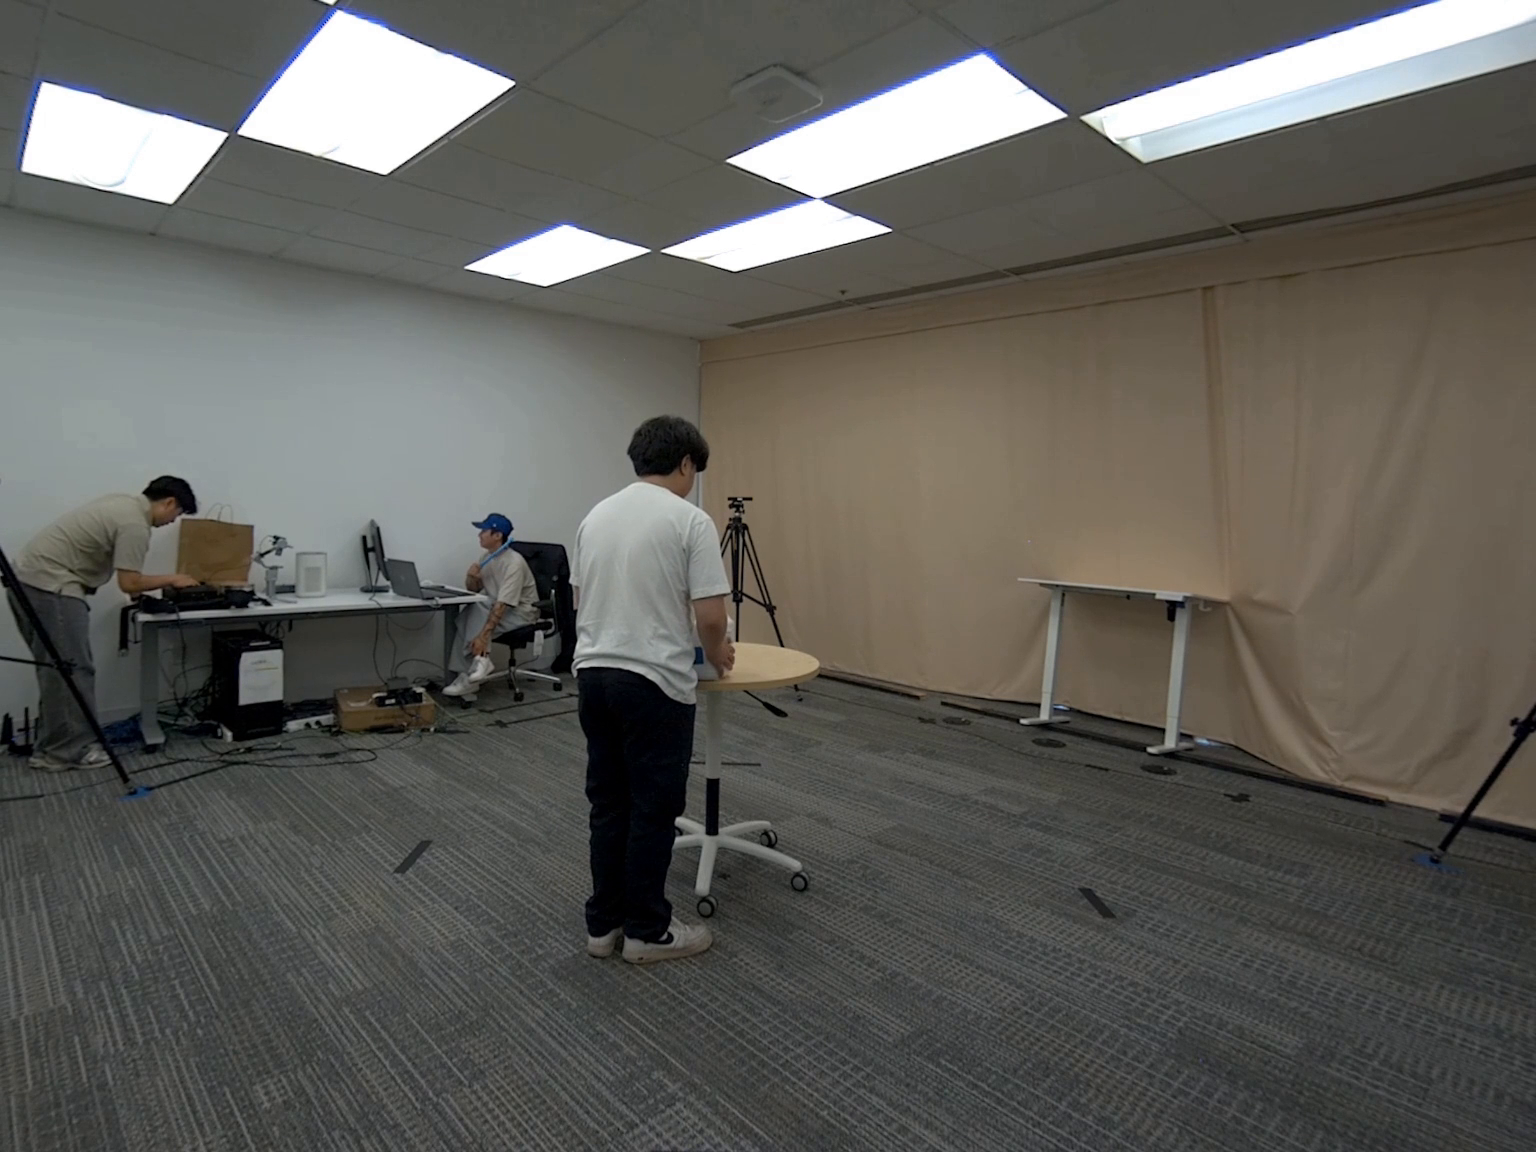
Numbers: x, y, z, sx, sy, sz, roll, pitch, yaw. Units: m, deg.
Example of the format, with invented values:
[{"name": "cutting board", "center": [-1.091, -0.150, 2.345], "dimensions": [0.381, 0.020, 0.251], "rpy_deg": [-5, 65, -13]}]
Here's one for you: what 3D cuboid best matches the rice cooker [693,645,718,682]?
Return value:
[{"name": "rice cooker", "center": [-0.216, 0.224, 2.814], "dimensions": [0.219, 0.232, 0.219], "rpy_deg": [1, 5, -8]}]
